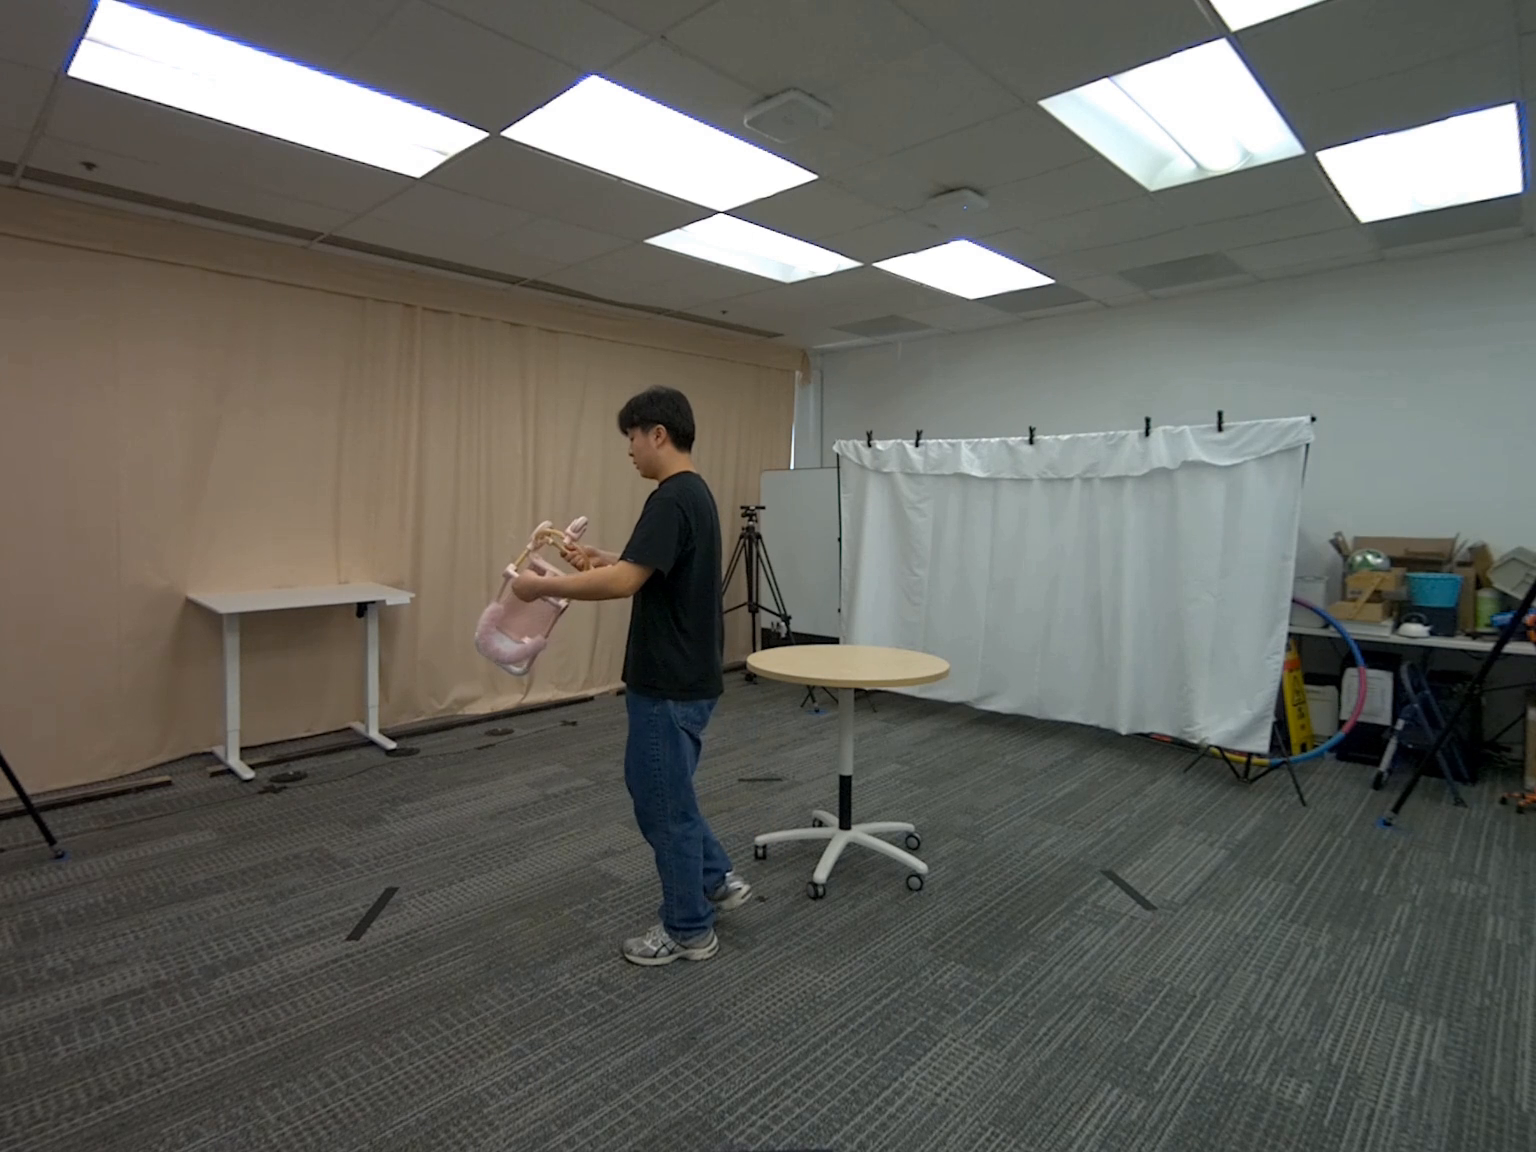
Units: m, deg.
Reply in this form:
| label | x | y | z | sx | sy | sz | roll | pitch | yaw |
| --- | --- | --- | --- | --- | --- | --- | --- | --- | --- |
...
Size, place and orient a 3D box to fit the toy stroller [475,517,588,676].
| label | x | y | z | sx | sy | sz | roll | pitch | yaw |
| --- | --- | --- | --- | --- | --- | --- | --- | --- | --- |
| toy stroller | -0.708 | 0.059 | 2.600 | 0.280 | 0.534 | 0.343 | 36 | -9 | -5 |
